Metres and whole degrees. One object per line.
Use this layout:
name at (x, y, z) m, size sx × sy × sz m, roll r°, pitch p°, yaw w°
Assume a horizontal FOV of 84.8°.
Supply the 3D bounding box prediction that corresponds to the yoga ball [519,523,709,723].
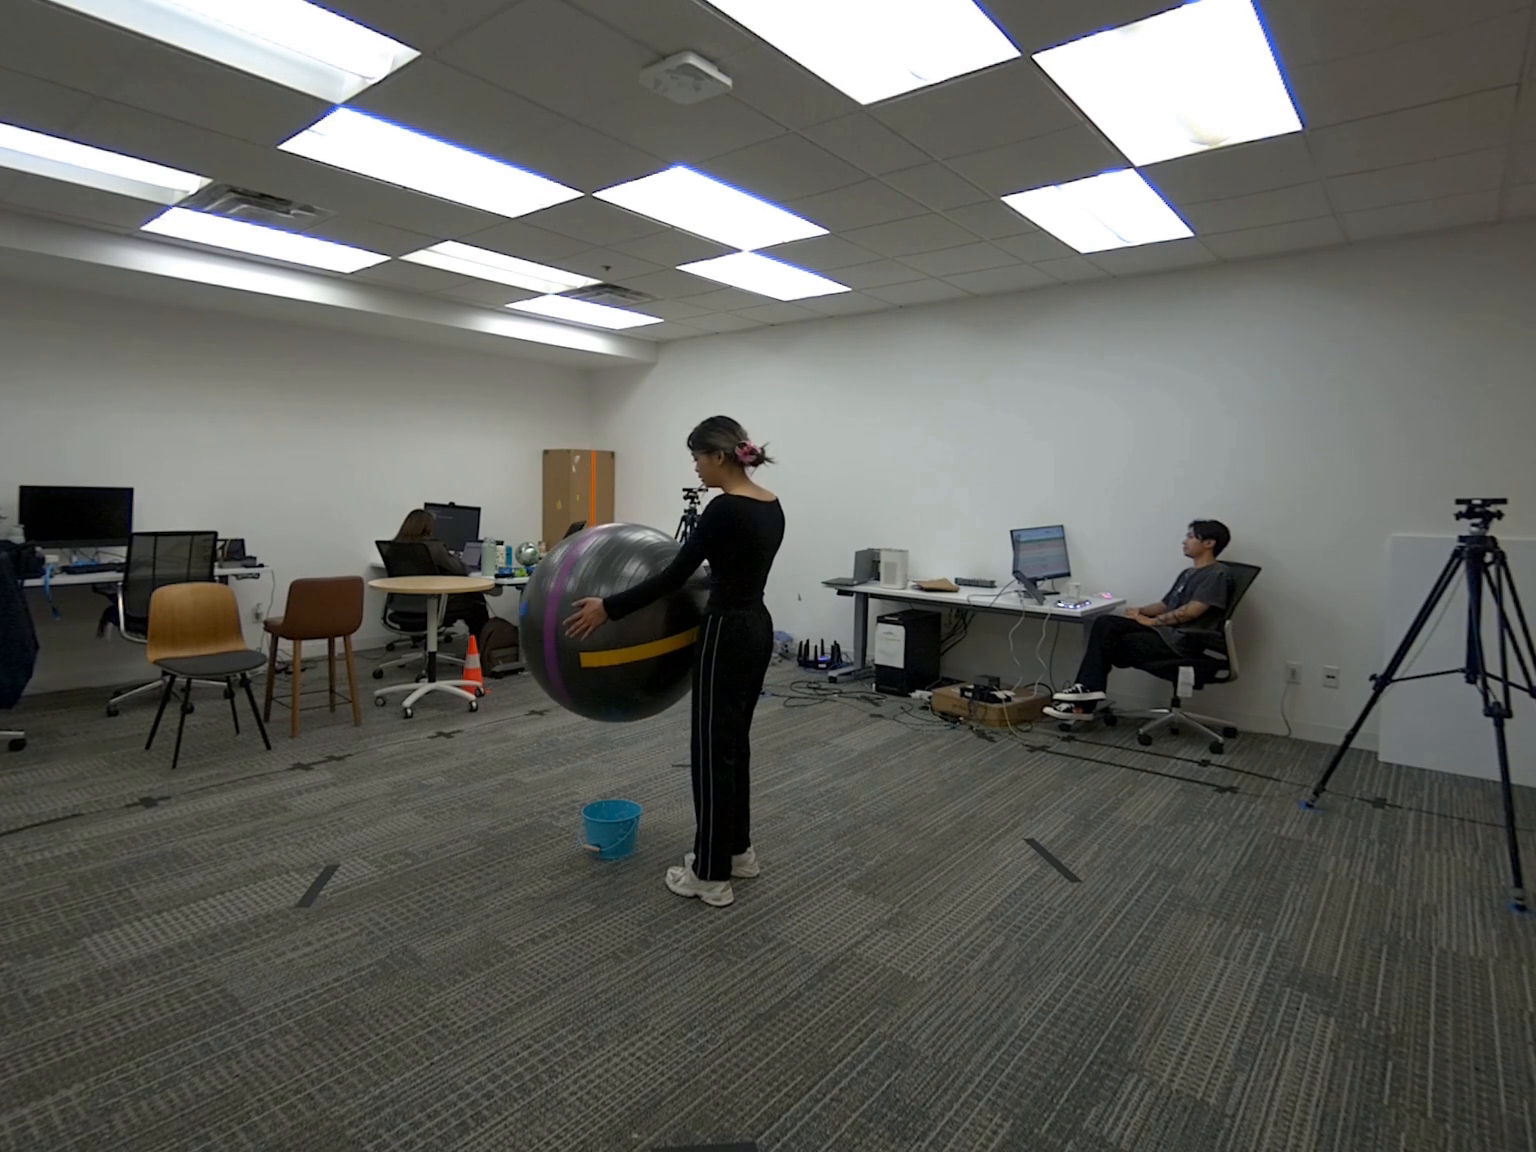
yoga ball at (-0.583, 0.175, 3.253) m, size 0.757 × 0.755 × 0.762 m, roll 1°, pitch 4°, yaw -2°
